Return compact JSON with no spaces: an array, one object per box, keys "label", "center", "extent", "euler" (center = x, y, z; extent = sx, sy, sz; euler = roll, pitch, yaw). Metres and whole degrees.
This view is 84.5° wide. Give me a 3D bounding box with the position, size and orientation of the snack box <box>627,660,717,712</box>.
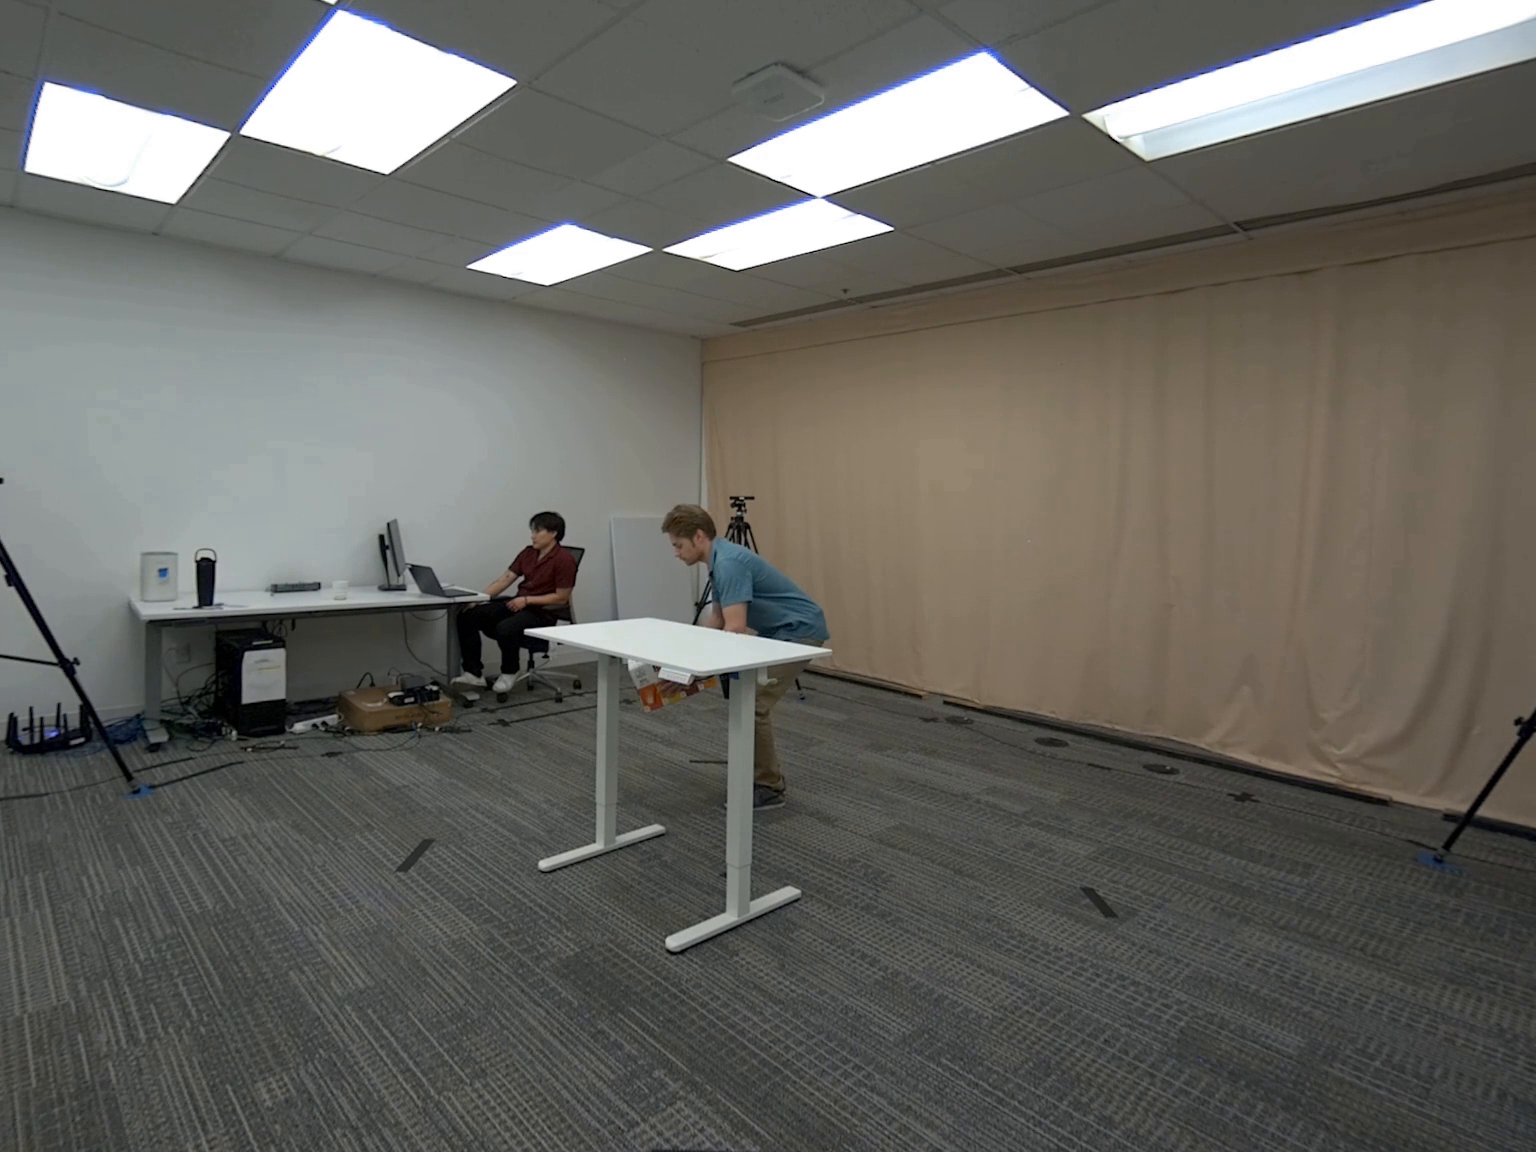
[{"label":"snack box","center":[-0.444,0.422,3.843],"extent":[0.339,0.204,0.409],"euler":[-21,7,-7]}]
